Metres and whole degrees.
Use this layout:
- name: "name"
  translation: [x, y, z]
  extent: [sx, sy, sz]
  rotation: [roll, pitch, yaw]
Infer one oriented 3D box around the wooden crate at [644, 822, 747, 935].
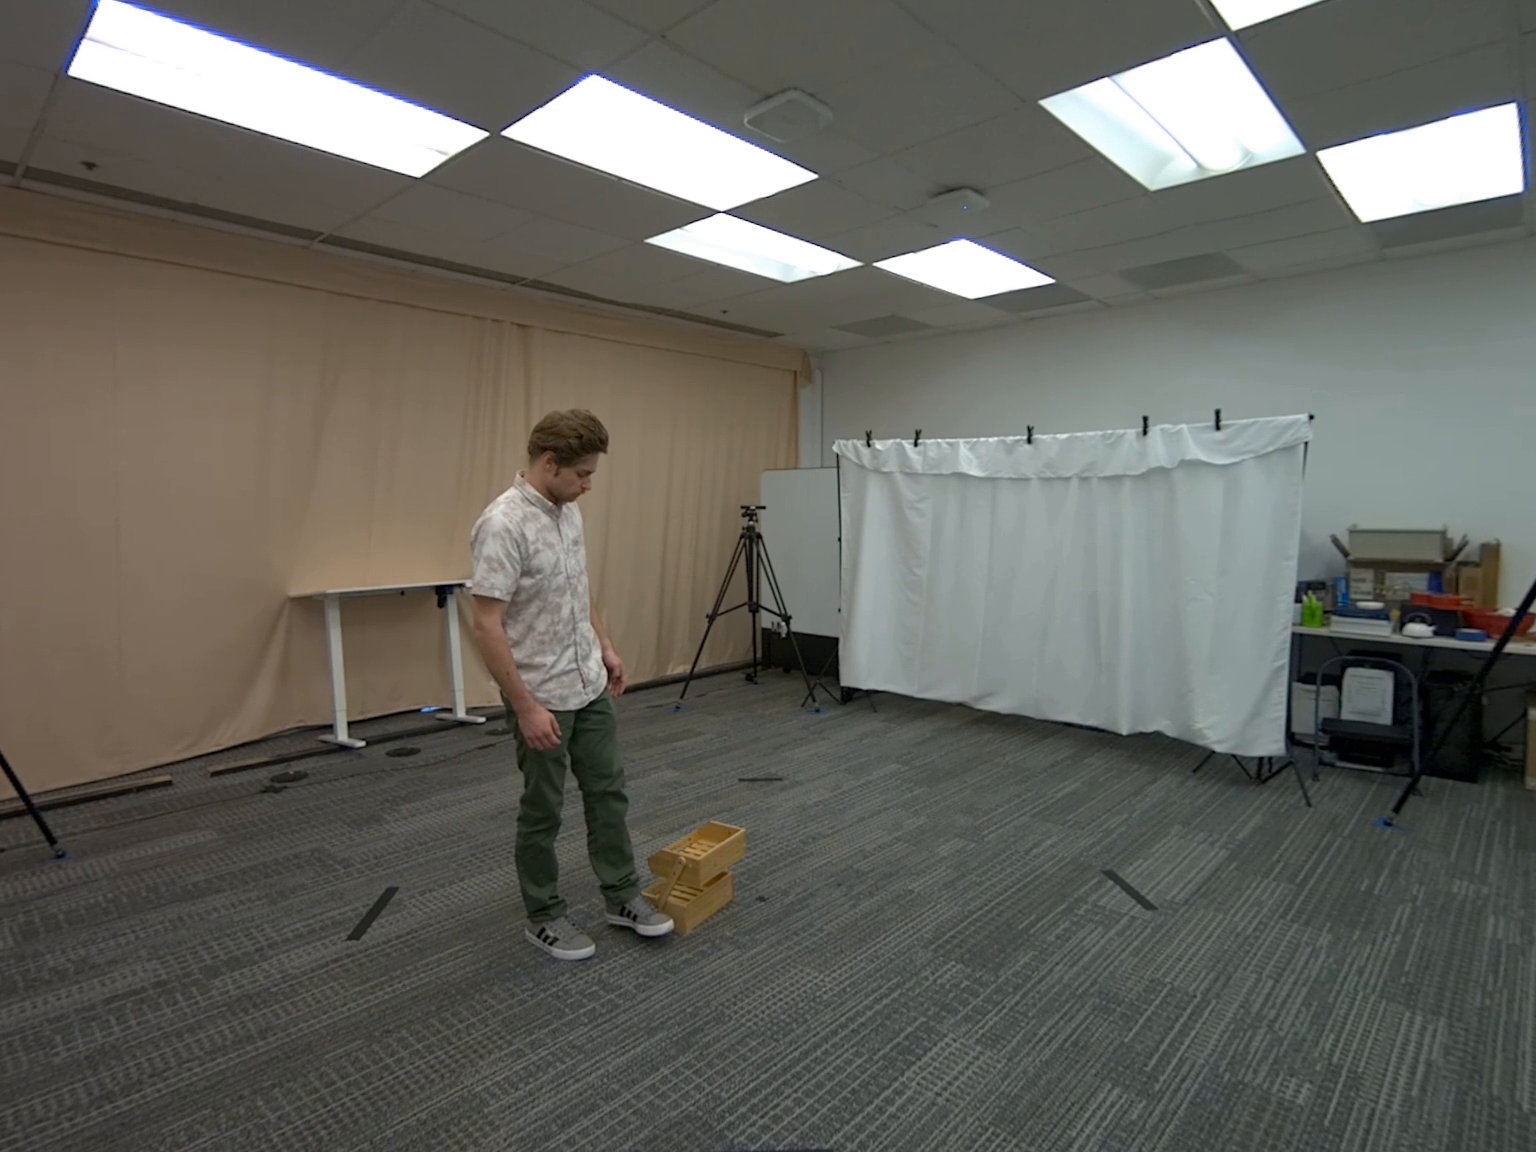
- name: "wooden crate"
  translation: [-0.280, 1.020, 2.907]
  extent: [0.311, 0.272, 0.316]
  rotation: [3, 5, 31]
